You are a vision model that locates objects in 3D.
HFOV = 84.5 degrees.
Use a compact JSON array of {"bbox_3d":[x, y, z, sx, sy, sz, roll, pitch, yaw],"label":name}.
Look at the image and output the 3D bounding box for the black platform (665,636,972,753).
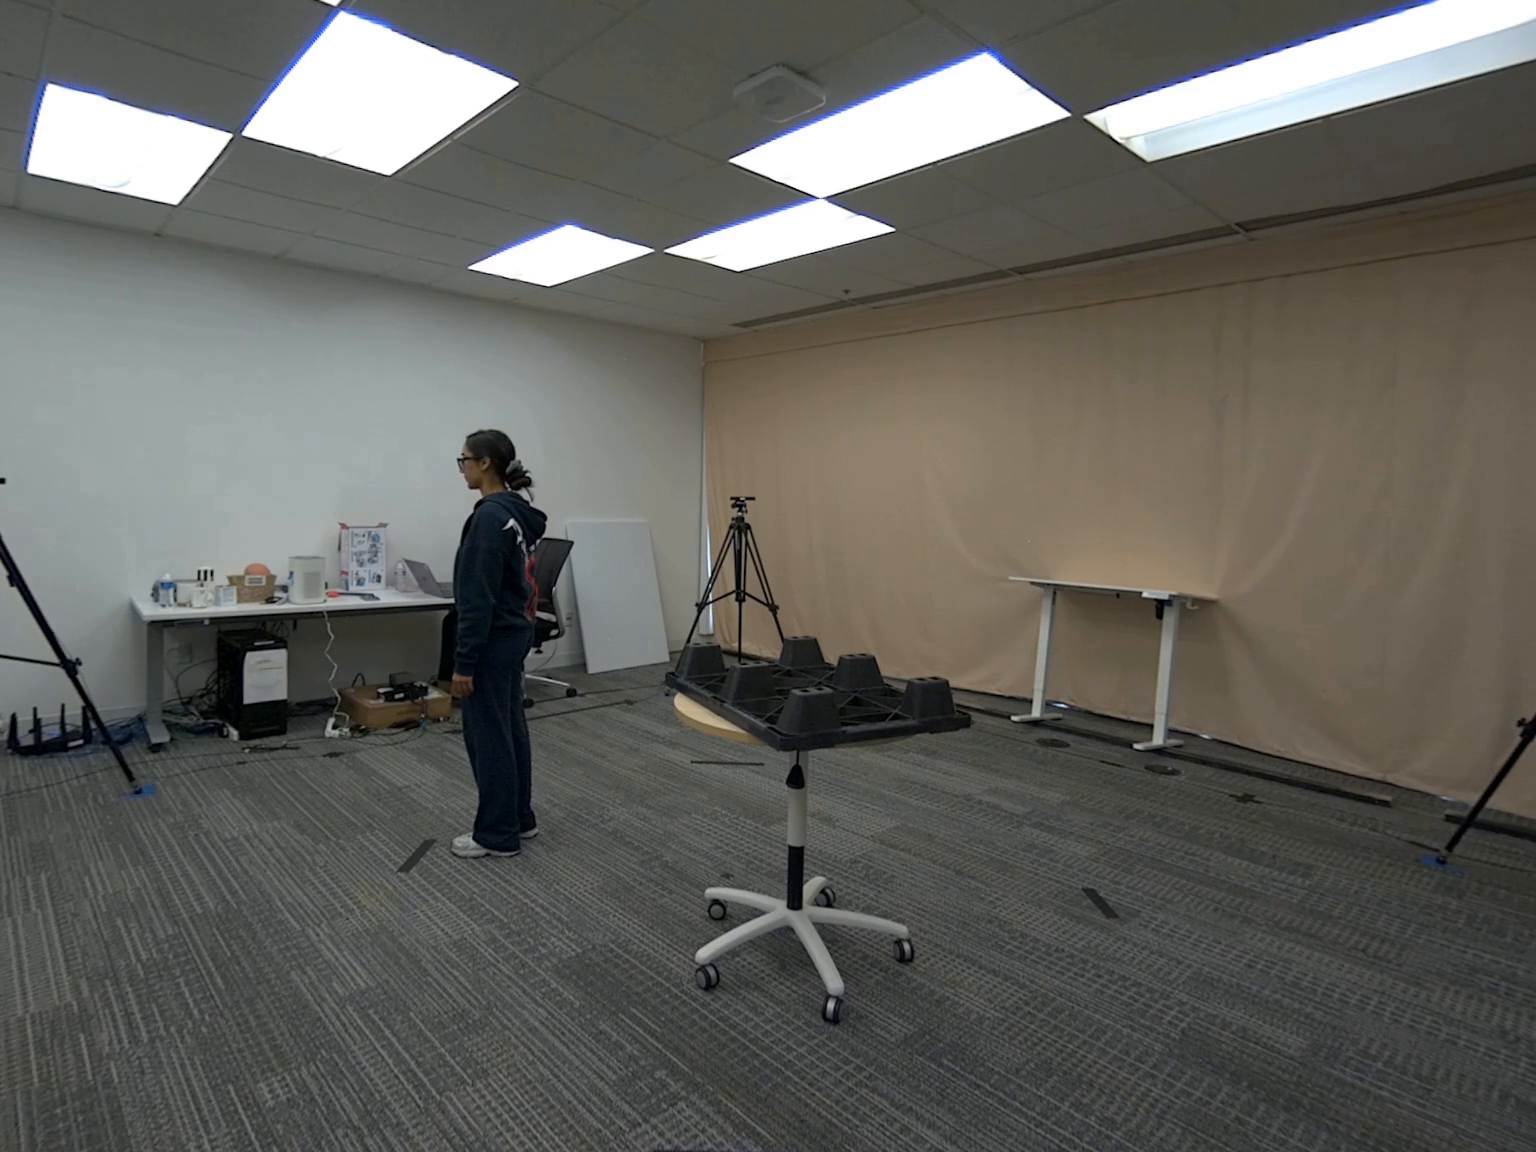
[{"bbox_3d":[0.115,0.322,2.517,0.594,0.143,0.823,-2,7,-28],"label":"black platform"}]
